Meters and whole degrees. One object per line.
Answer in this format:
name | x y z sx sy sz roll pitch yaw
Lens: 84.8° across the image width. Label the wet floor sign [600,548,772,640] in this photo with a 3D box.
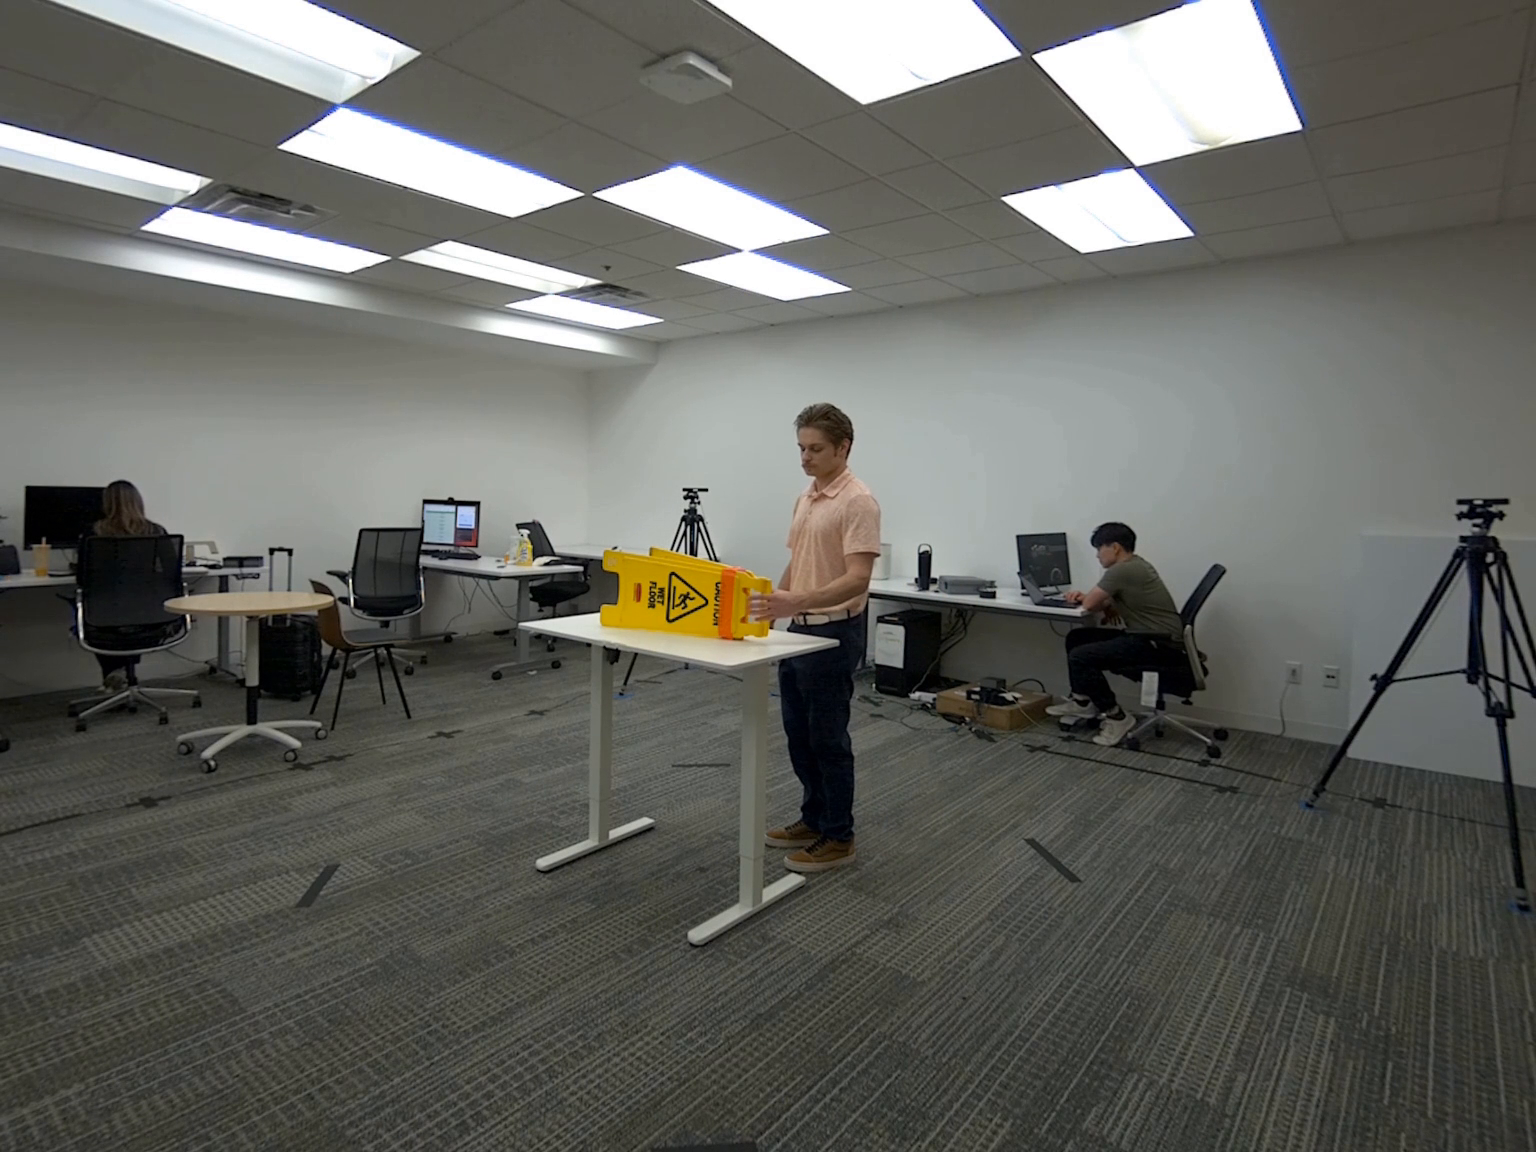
wet floor sign | -0.277 0.071 3.002 0.668 0.281 0.281 8 7 36
